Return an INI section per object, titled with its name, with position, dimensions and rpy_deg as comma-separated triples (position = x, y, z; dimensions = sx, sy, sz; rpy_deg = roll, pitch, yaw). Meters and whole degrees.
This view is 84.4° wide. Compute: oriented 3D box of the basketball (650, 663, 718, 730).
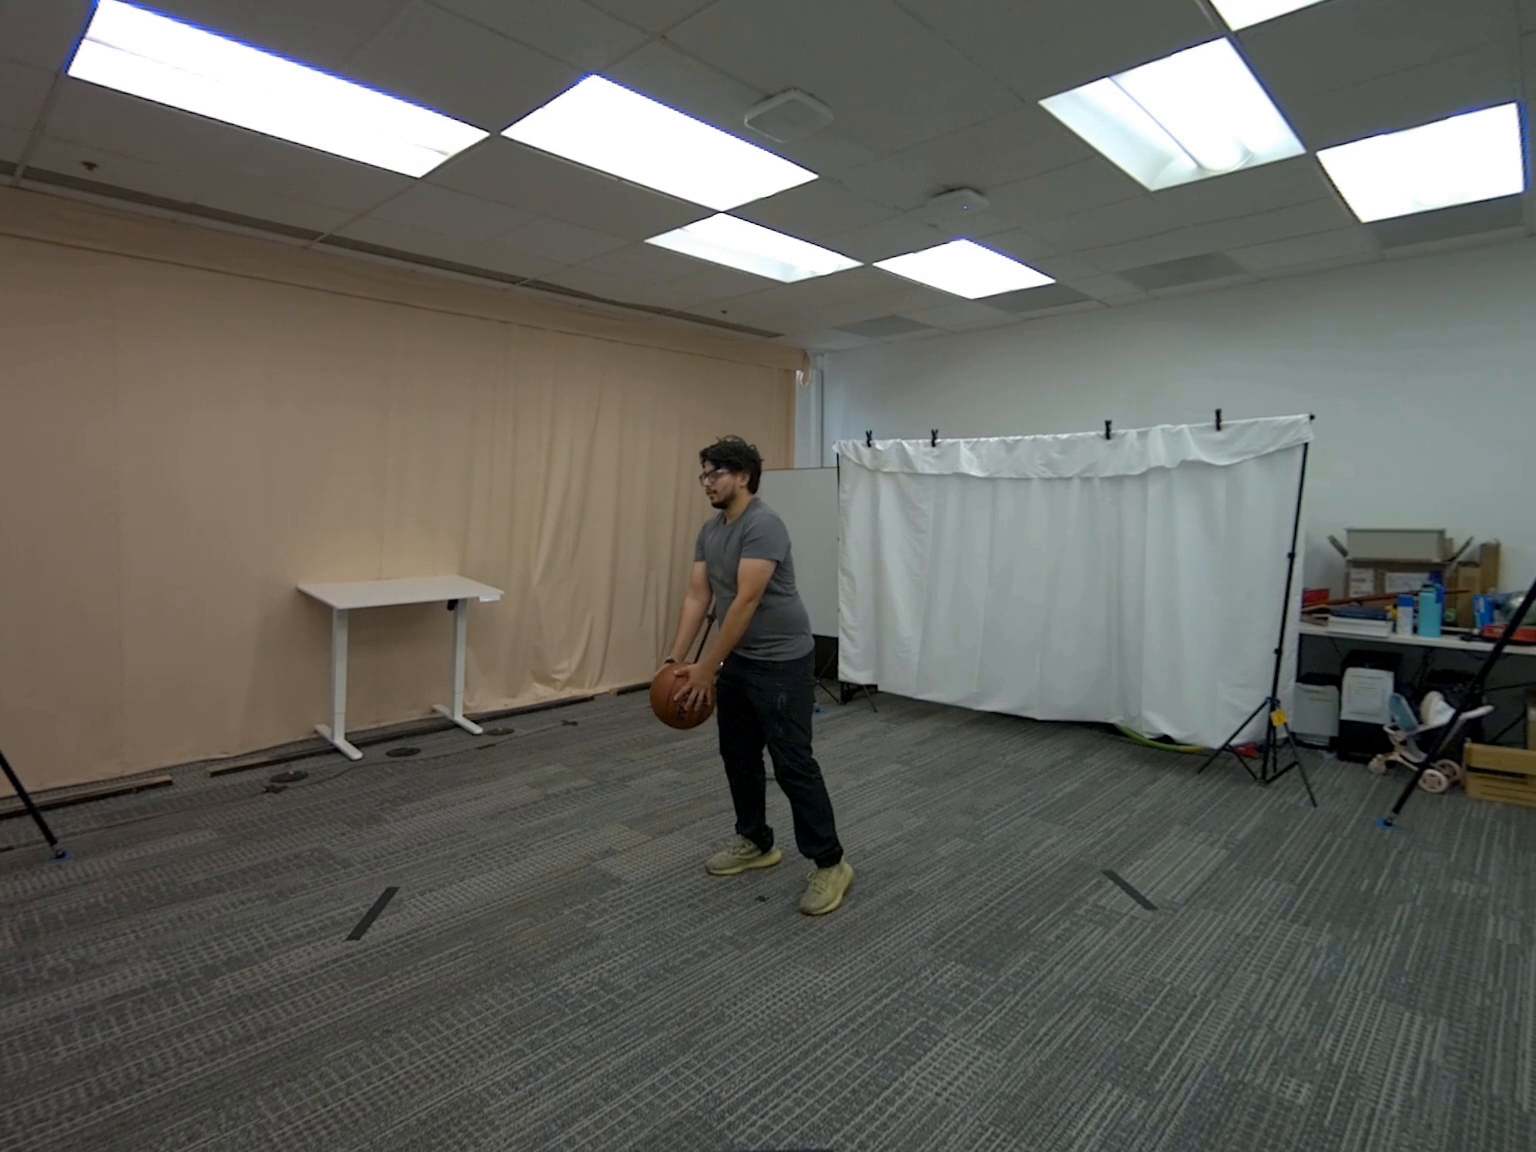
[basketball]
position = -0.300, 0.422, 3.004
dimensions = 0.236, 0.235, 0.237
rpy_deg = 0, 4, -2
